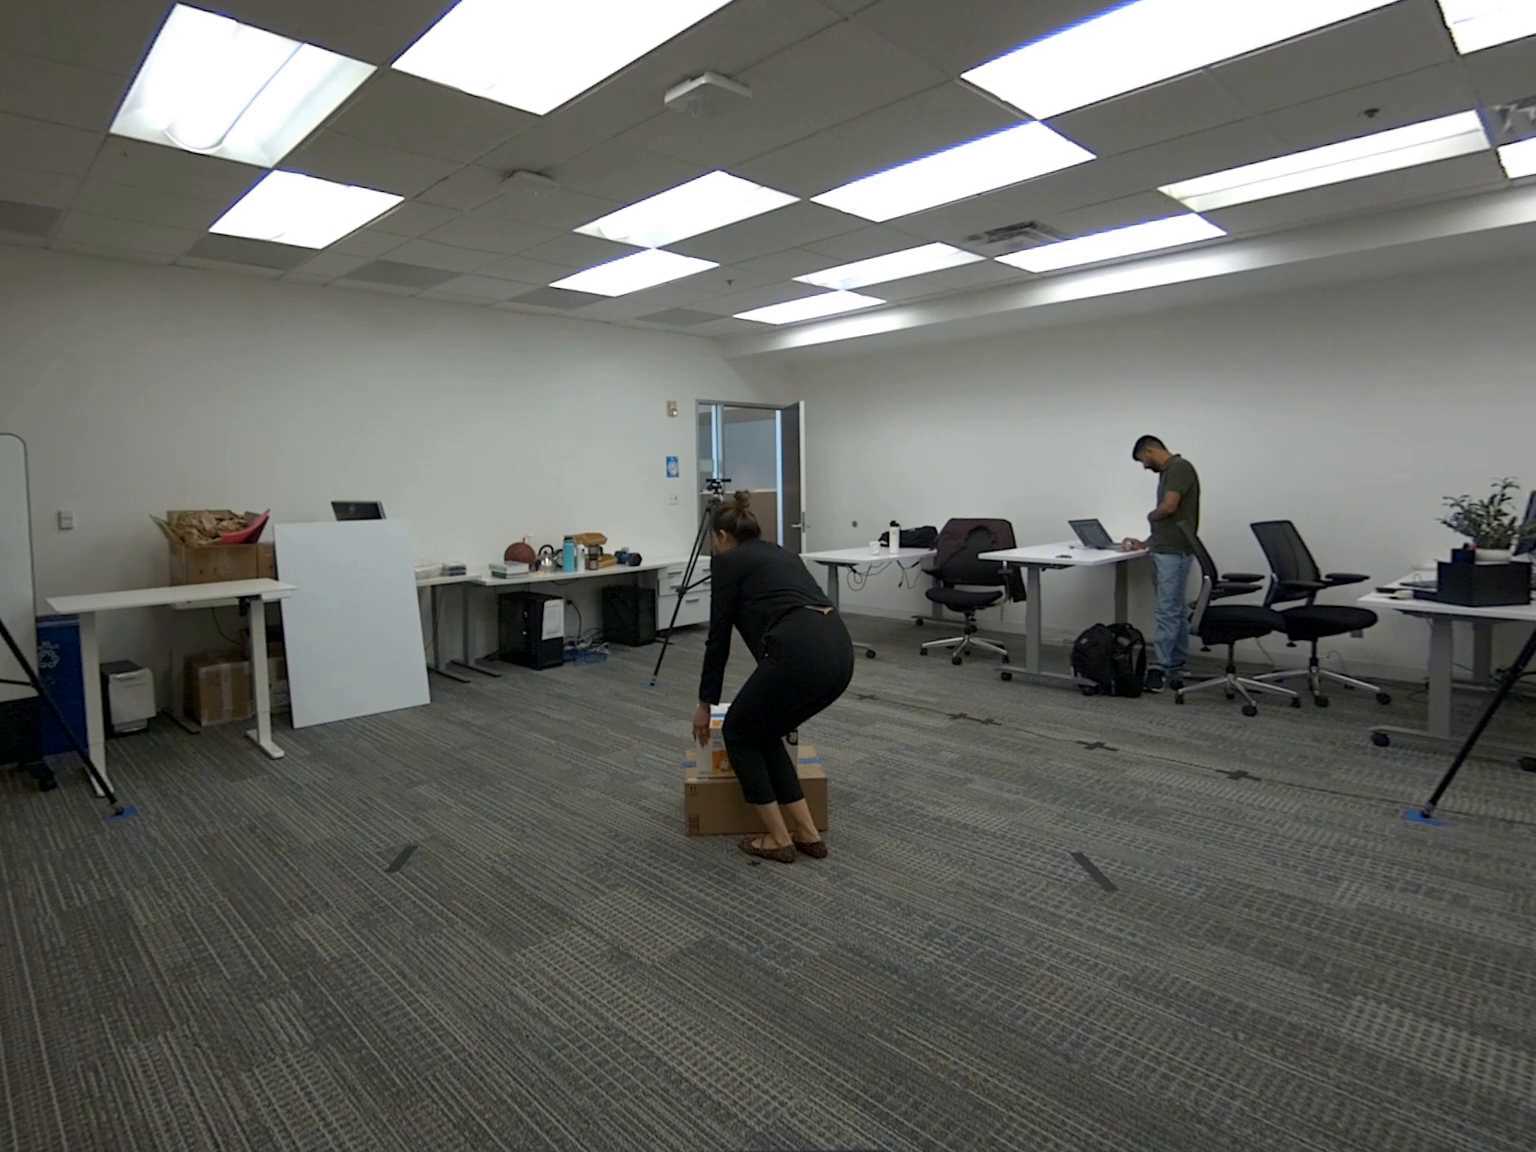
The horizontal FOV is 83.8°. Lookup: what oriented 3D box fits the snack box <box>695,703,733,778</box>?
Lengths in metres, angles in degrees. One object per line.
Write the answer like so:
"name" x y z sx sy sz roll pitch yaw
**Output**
"snack box" -0.086 0.670 3.543 0.404 0.204 0.343 0 8 -3
